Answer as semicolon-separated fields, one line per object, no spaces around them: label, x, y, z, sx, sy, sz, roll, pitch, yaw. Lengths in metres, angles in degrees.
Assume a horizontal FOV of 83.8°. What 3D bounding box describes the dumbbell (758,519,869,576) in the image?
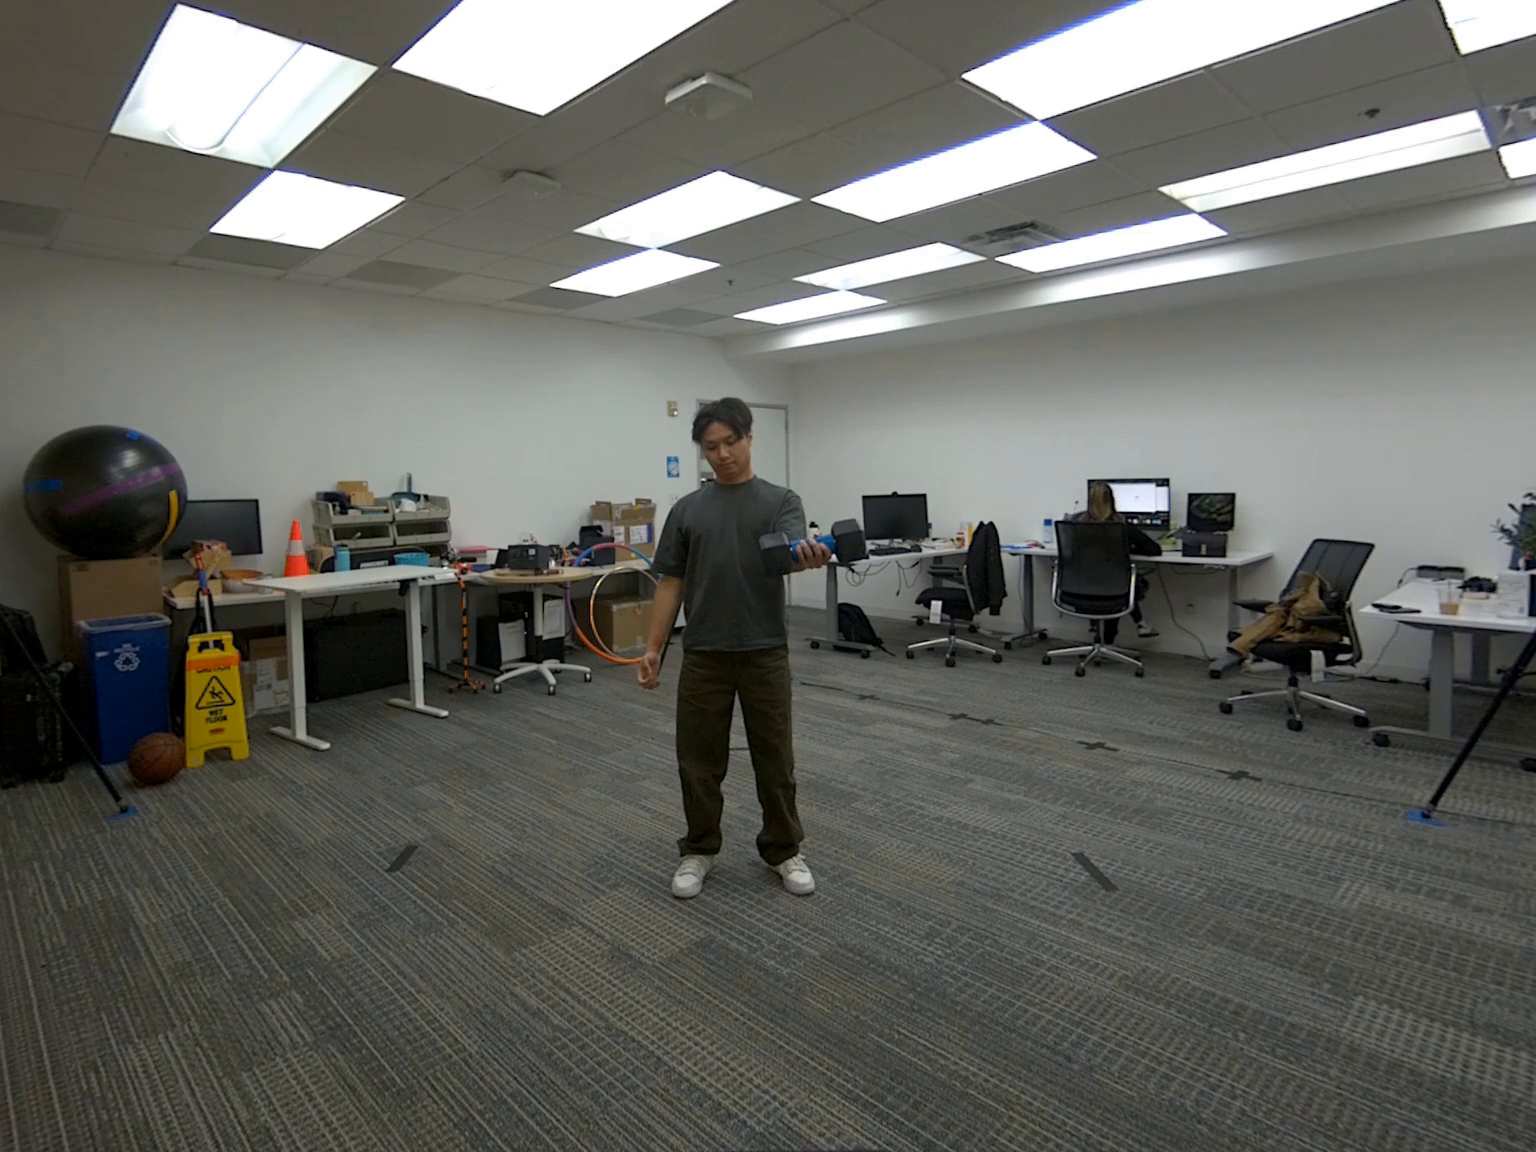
dumbbell;0.123;-0.089;2.428;0.293;0.122;0.110;-10;8;-4
